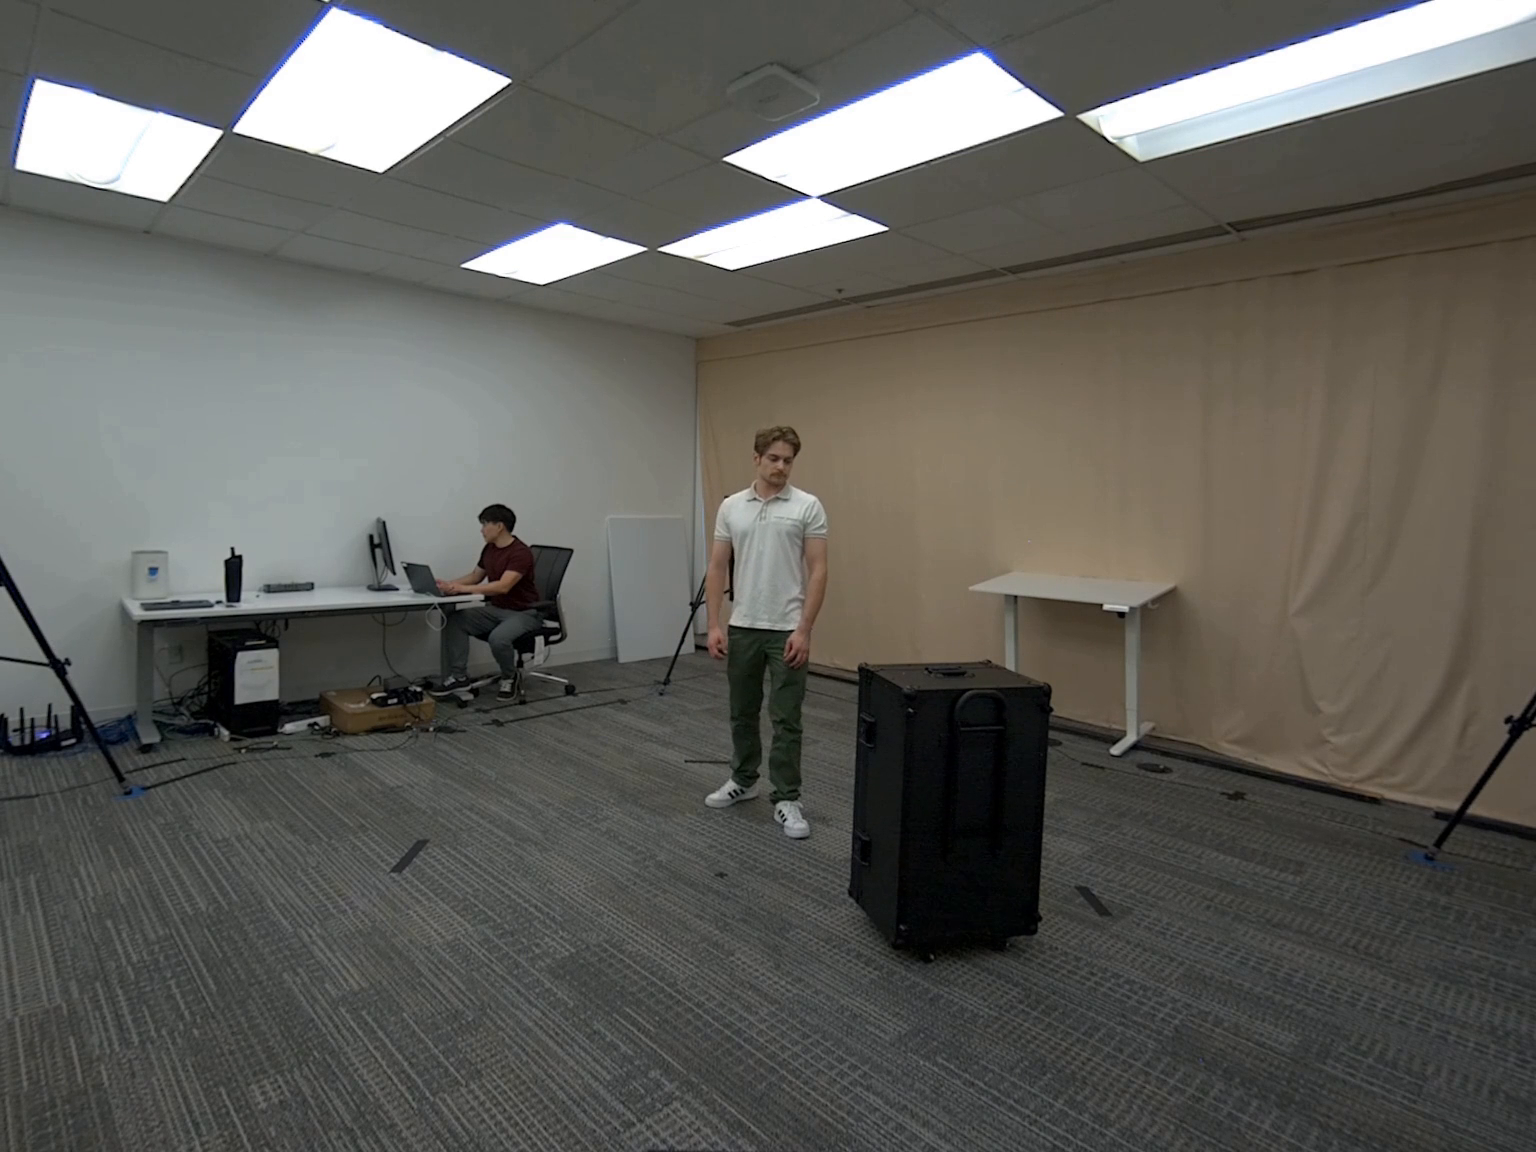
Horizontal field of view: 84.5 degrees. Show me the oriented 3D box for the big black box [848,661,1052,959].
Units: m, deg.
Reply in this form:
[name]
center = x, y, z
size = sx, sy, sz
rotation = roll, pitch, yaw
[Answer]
[big black box]
center = 0.564, 0.739, 2.683
size = 0.517, 0.865, 0.391
rotation = 1, 5, -14
